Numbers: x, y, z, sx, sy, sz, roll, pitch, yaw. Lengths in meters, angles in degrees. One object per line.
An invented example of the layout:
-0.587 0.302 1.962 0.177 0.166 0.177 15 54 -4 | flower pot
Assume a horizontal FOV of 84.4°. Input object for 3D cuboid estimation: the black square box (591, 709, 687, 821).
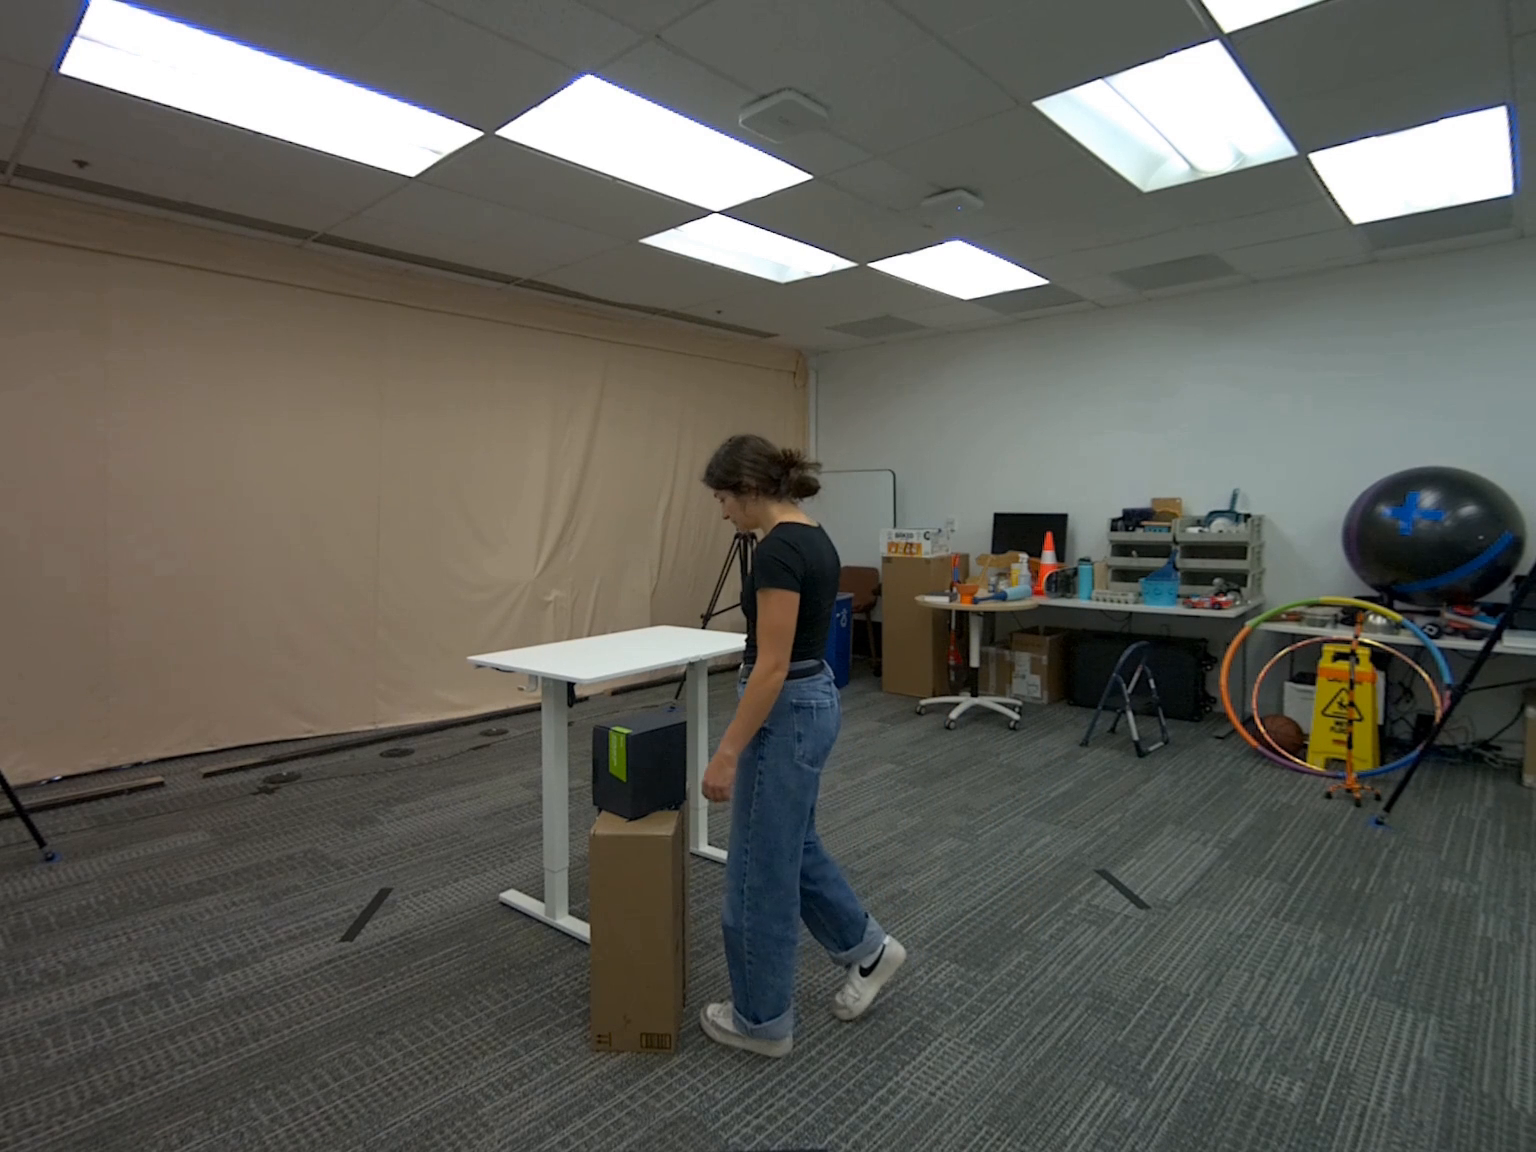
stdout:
-0.363 0.520 2.347 0.210 0.227 0.161 -3 4 -42 | black square box
